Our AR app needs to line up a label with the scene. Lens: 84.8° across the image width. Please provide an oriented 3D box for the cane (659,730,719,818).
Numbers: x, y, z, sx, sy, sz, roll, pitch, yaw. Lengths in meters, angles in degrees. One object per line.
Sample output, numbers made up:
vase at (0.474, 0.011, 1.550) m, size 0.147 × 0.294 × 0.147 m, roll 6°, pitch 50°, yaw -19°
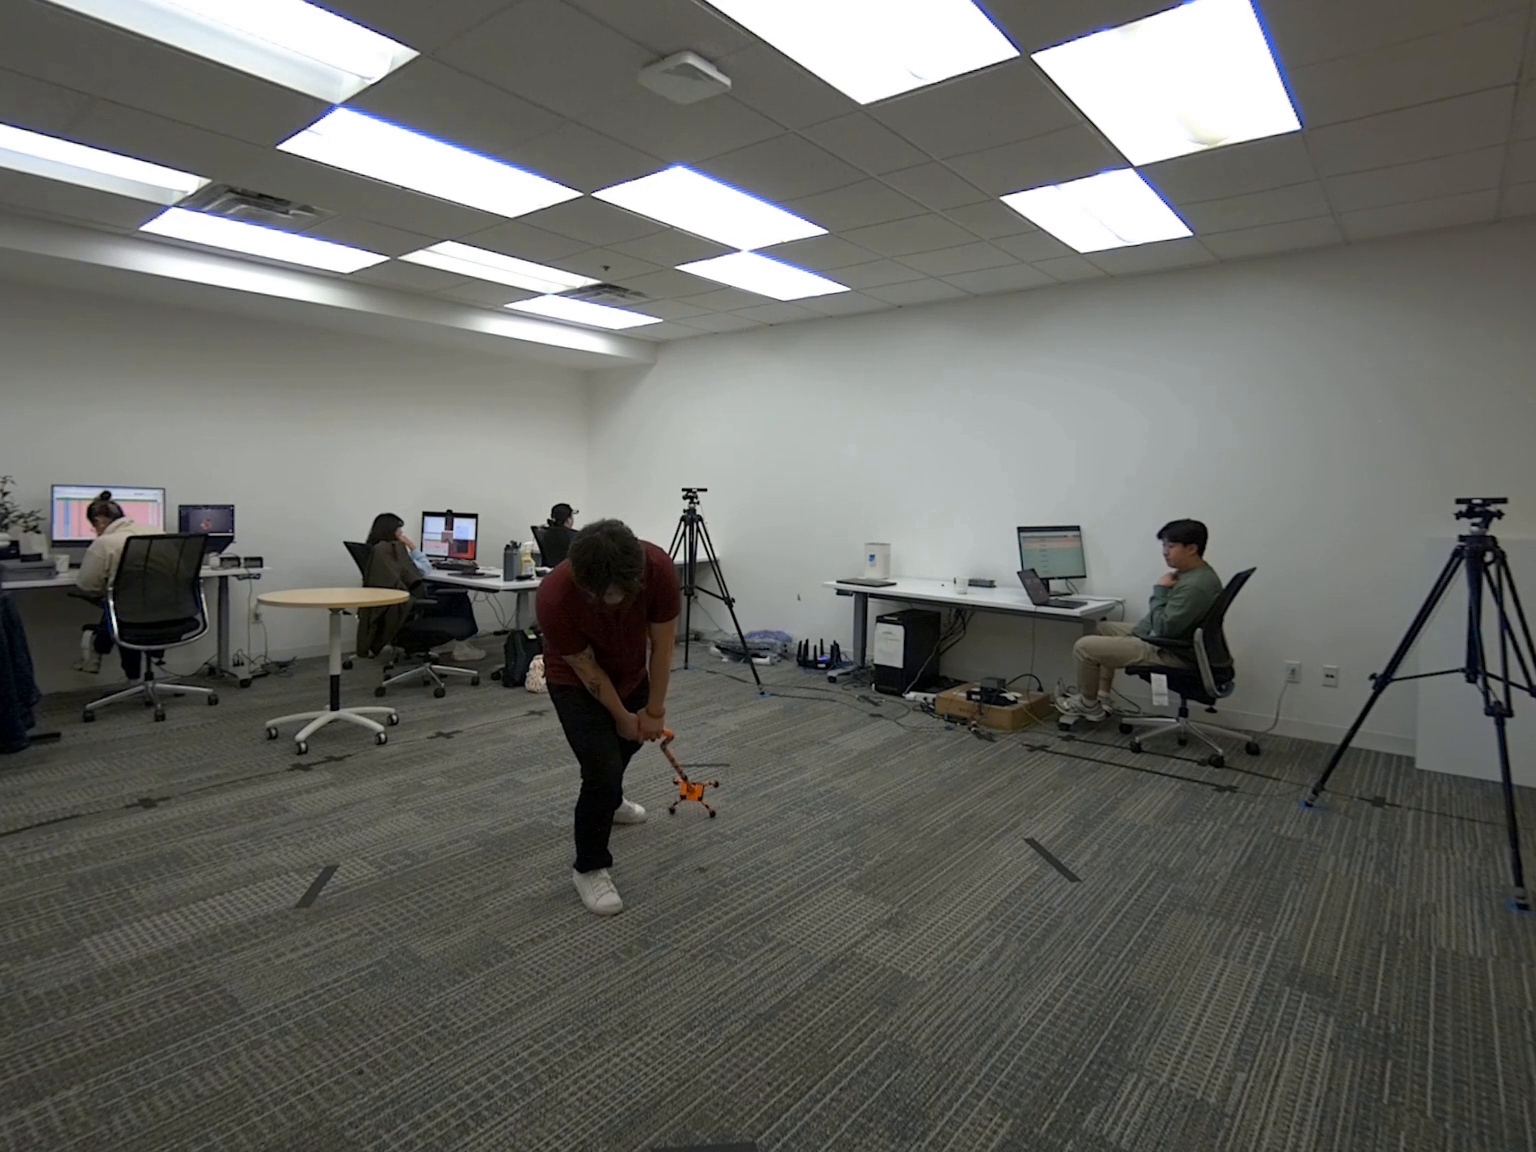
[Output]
cane at (-0.371, 0.739, 3.293) m, size 0.209 × 0.155 × 0.878 m, roll 2°, pitch -29°, yaw 9°
